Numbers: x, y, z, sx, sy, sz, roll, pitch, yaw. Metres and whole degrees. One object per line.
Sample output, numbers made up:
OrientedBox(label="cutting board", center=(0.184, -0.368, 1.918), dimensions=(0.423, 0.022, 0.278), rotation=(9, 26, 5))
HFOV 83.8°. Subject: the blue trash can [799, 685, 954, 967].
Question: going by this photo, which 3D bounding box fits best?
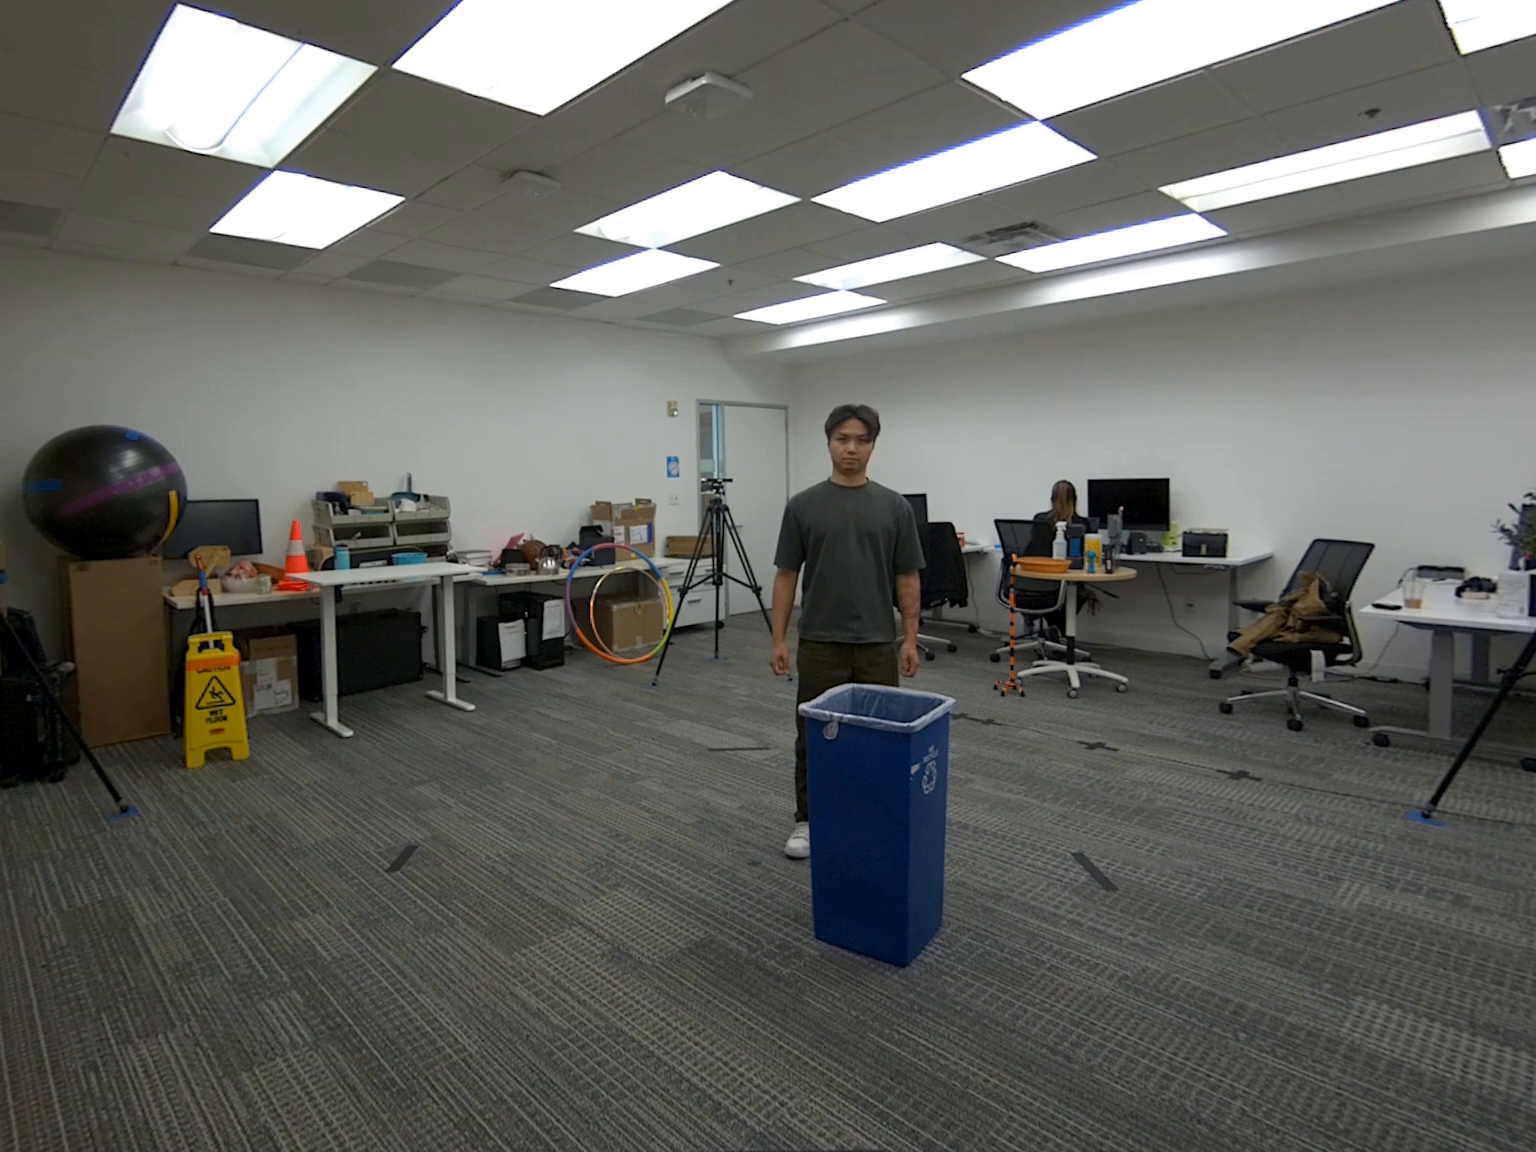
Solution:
OrientedBox(label="blue trash can", center=(0.334, 0.740, 2.607), dimensions=(0.384, 0.711, 0.369), rotation=(3, 6, 32))
